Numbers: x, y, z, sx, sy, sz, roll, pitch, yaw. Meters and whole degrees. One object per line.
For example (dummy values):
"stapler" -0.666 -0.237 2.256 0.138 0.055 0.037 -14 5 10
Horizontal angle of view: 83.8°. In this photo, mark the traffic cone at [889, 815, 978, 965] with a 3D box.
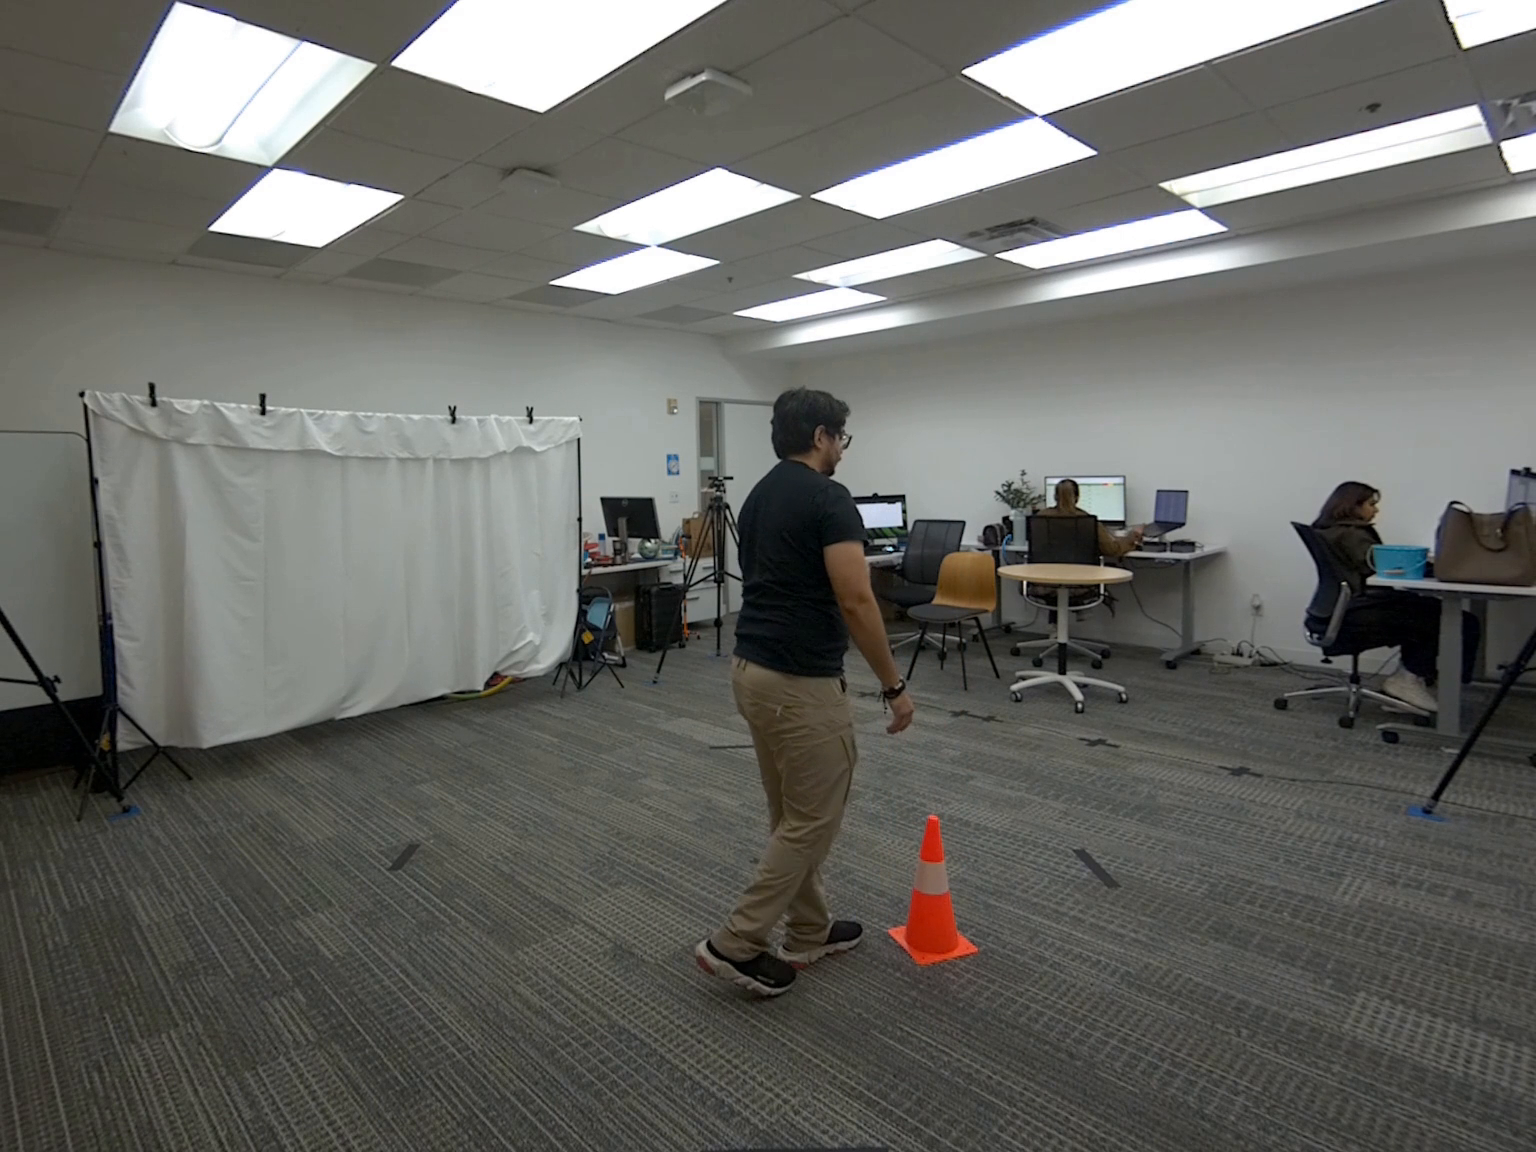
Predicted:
"traffic cone" 0.491 0.911 2.536 0.202 0.382 0.207 -4 5 -18
